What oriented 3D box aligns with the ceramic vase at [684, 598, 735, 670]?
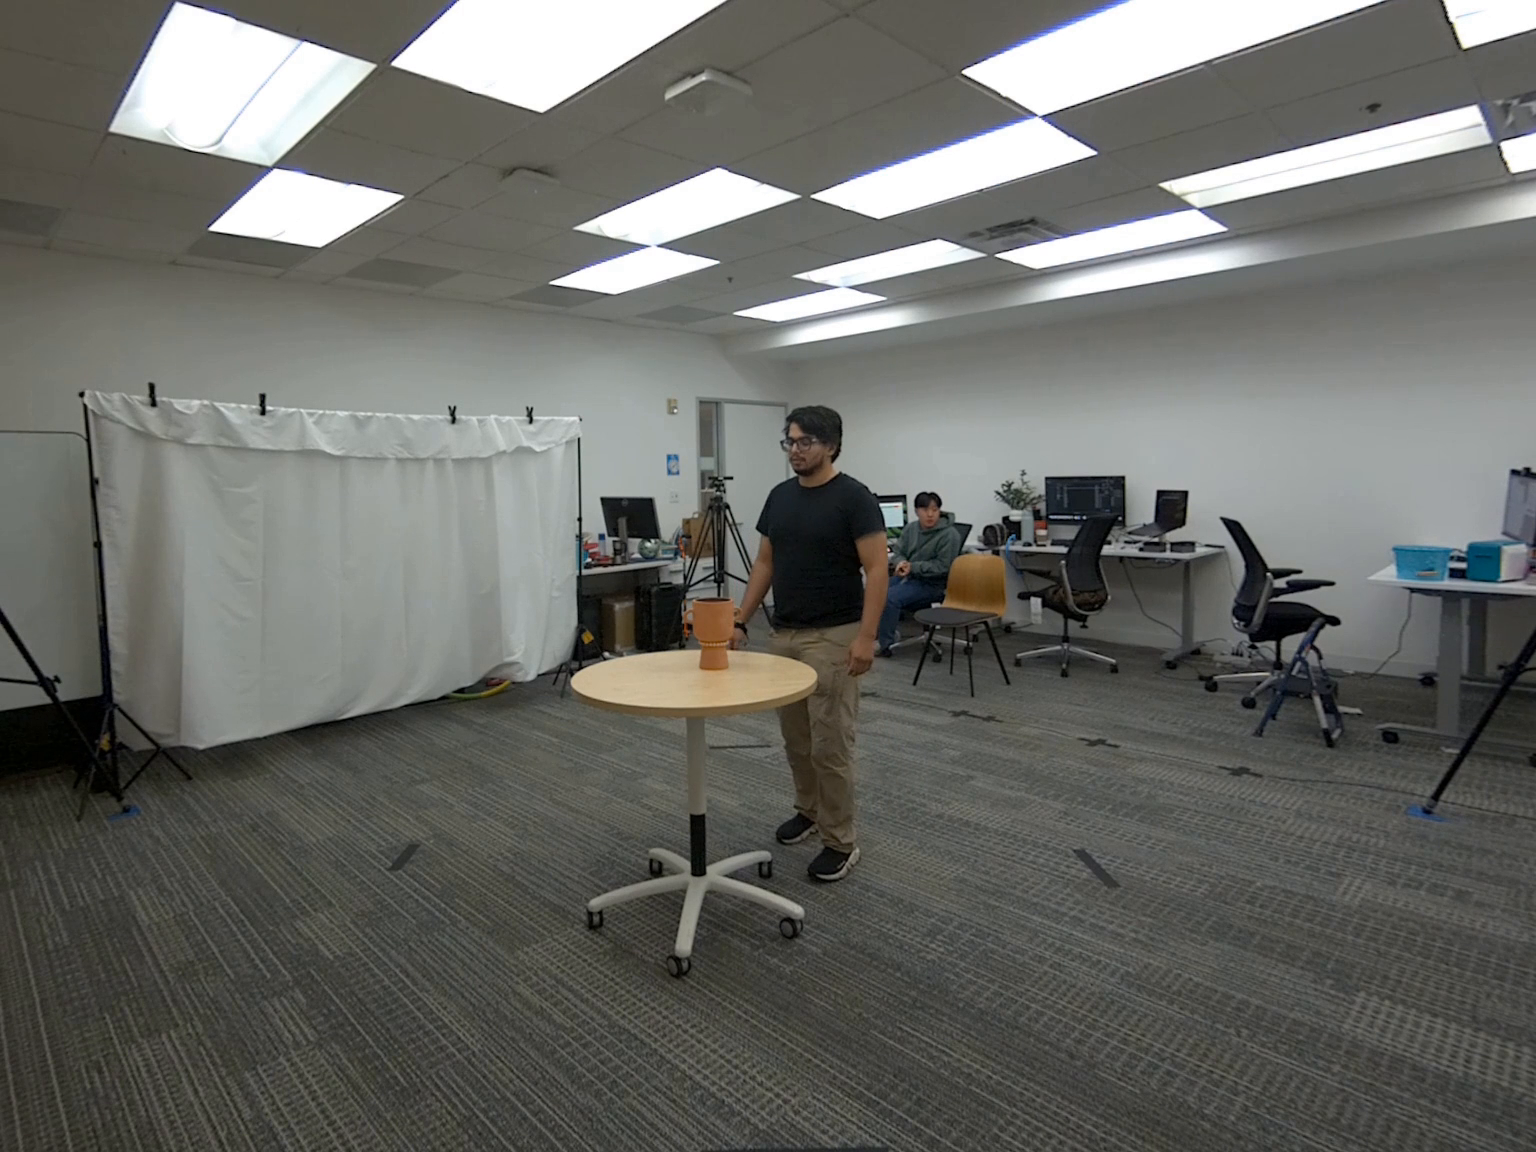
[{"bbox_3d":[-0.176,0.190,2.774,0.162,0.219,0.132,1,4,22],"label":"ceramic vase"}]
